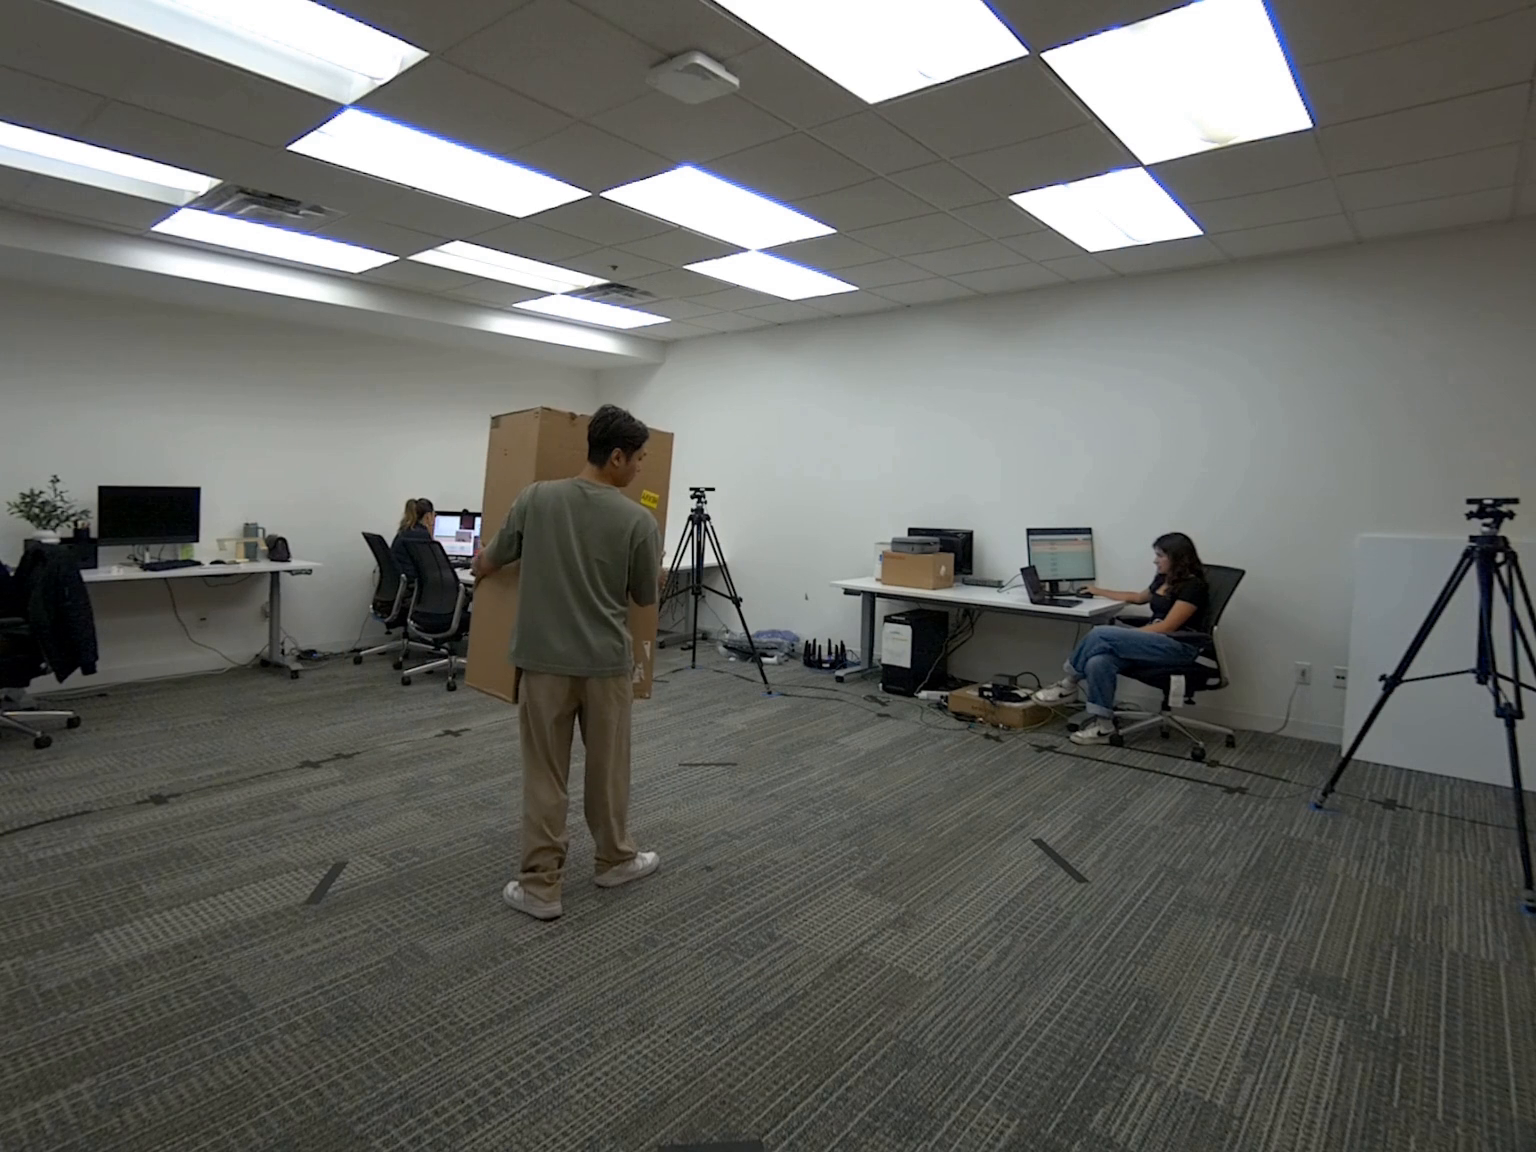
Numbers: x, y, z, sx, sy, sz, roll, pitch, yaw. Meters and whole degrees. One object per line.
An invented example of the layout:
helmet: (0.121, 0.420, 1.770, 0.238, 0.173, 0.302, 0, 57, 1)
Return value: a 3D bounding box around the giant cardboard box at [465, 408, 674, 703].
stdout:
giant cardboard box: (-0.761, -0.076, 3.227, 0.558, 1.028, 0.440, 7, -3, -41)
